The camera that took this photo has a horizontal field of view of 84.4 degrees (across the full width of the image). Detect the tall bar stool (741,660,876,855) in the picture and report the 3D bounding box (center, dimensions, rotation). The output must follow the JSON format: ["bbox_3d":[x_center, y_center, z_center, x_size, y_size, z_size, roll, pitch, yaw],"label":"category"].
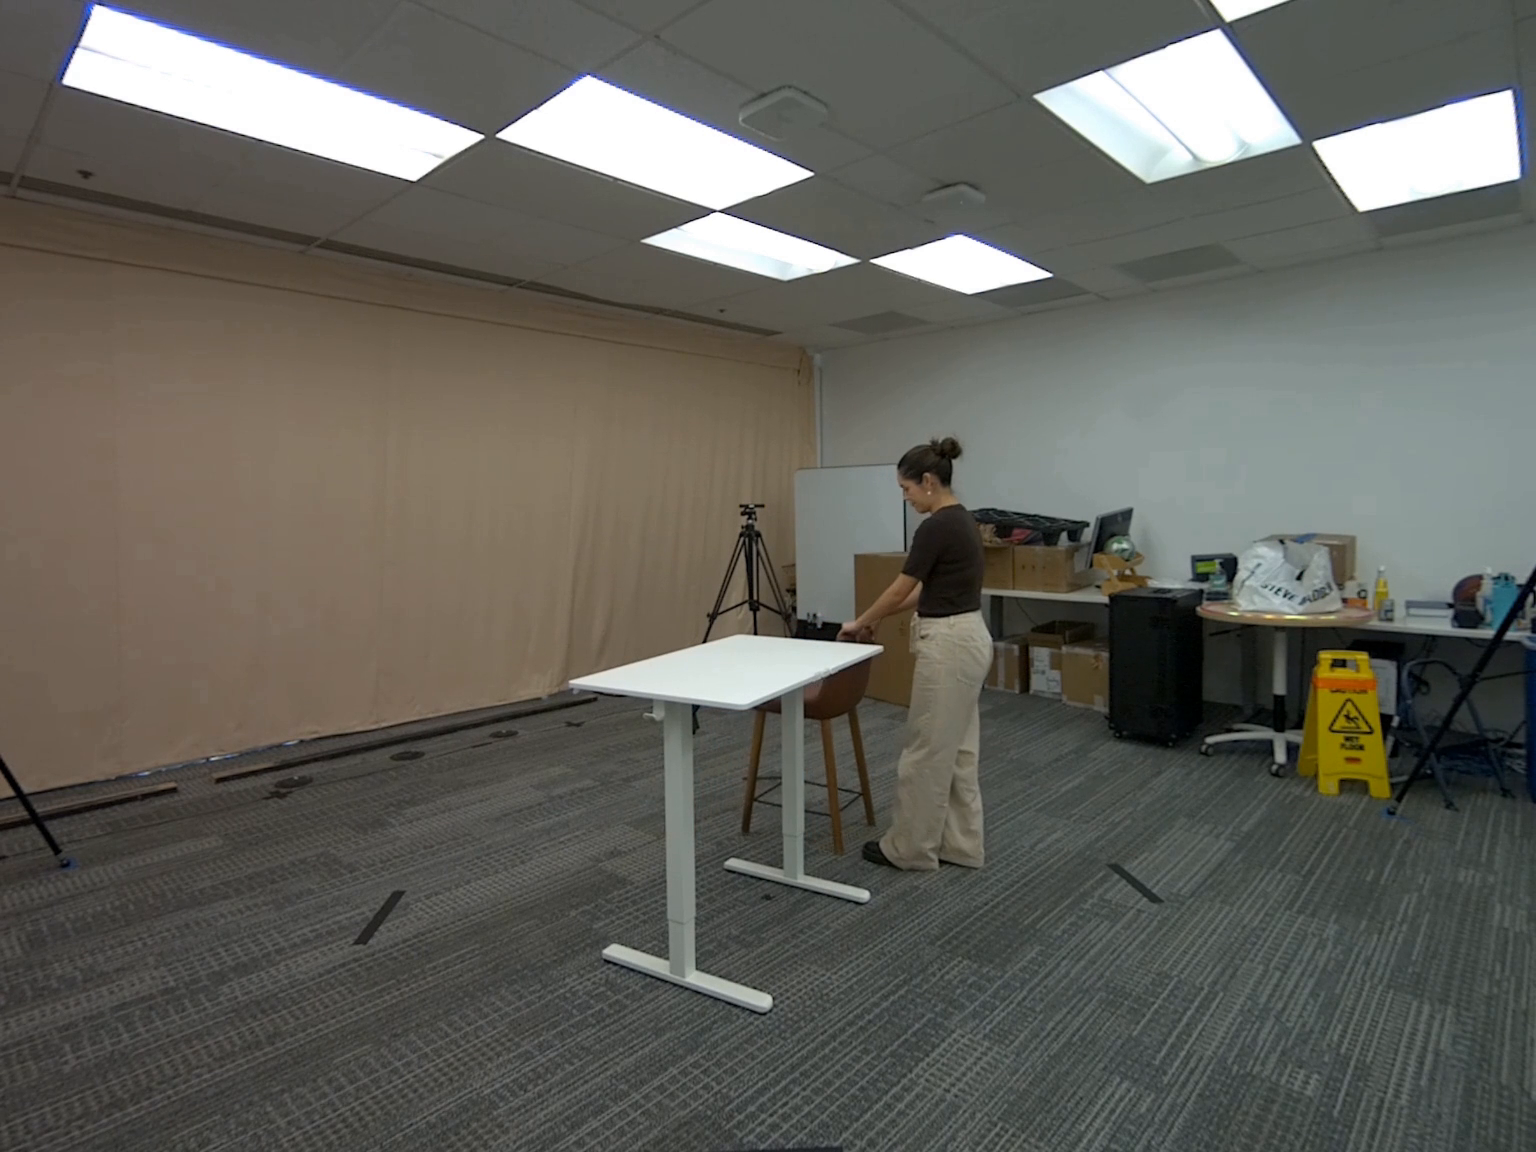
[{"bbox_3d":[0.189,0.650,3.580,0.481,0.888,0.444,3,4,30],"label":"tall bar stool"}]
